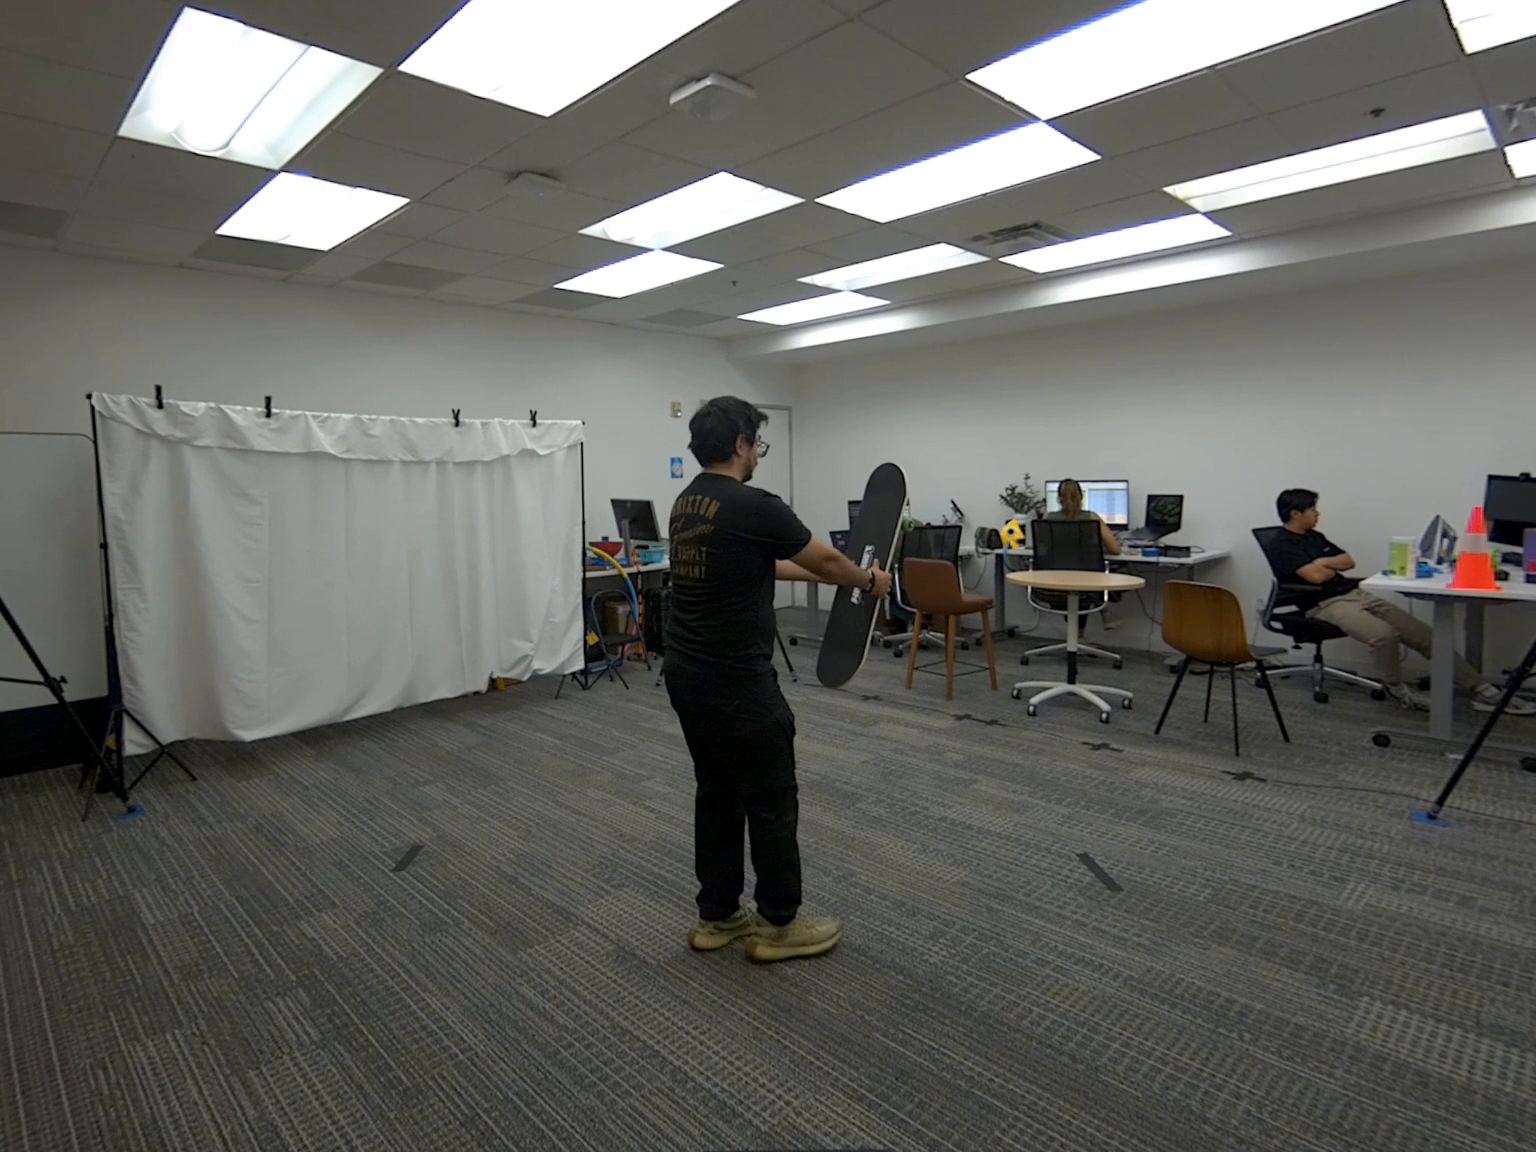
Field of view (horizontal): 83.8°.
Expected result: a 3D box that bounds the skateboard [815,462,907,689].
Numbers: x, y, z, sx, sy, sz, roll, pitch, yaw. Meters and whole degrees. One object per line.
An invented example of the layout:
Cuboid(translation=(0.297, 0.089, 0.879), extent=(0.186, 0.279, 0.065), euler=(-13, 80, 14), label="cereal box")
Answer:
Cuboid(translation=(0.345, 0.008, 2.879), extent=(0.106, 0.790, 0.199), euler=(24, -13, -39), label="skateboard")
